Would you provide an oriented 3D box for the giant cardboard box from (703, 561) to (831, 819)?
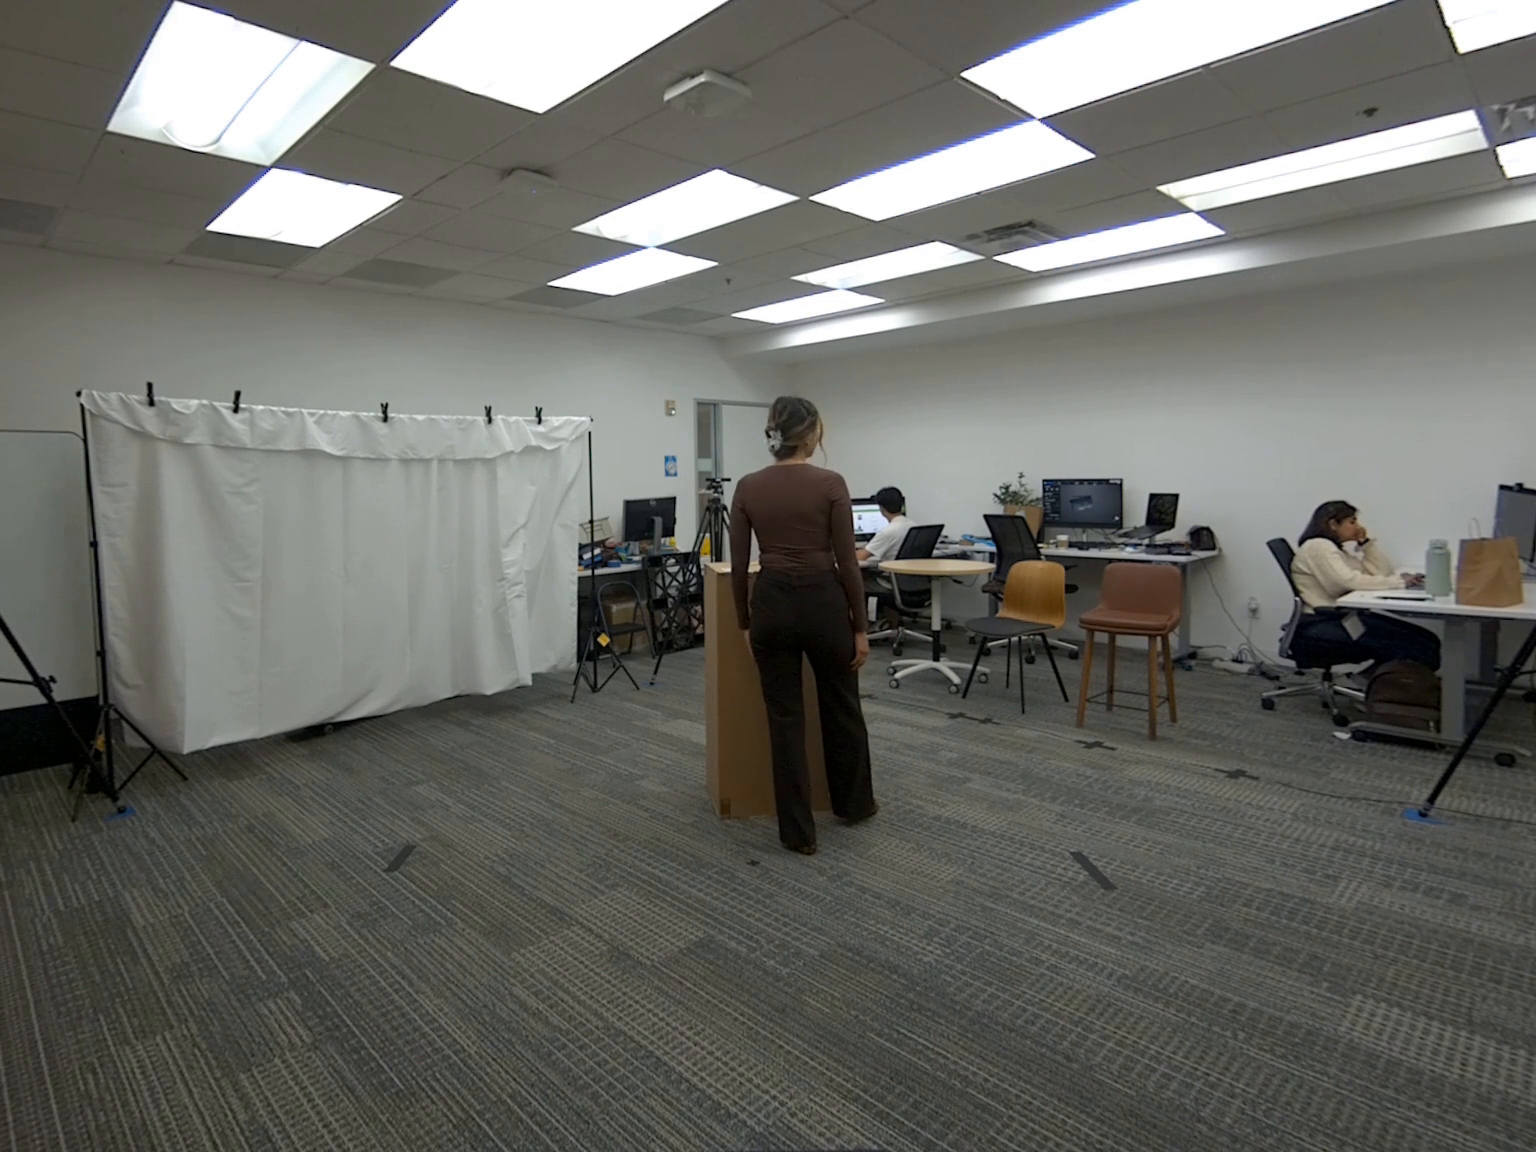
[{"bbox_3d":[0.036,0.456,3.729,0.579,1.024,0.452,-2,4,-9],"label":"giant cardboard box"}]
